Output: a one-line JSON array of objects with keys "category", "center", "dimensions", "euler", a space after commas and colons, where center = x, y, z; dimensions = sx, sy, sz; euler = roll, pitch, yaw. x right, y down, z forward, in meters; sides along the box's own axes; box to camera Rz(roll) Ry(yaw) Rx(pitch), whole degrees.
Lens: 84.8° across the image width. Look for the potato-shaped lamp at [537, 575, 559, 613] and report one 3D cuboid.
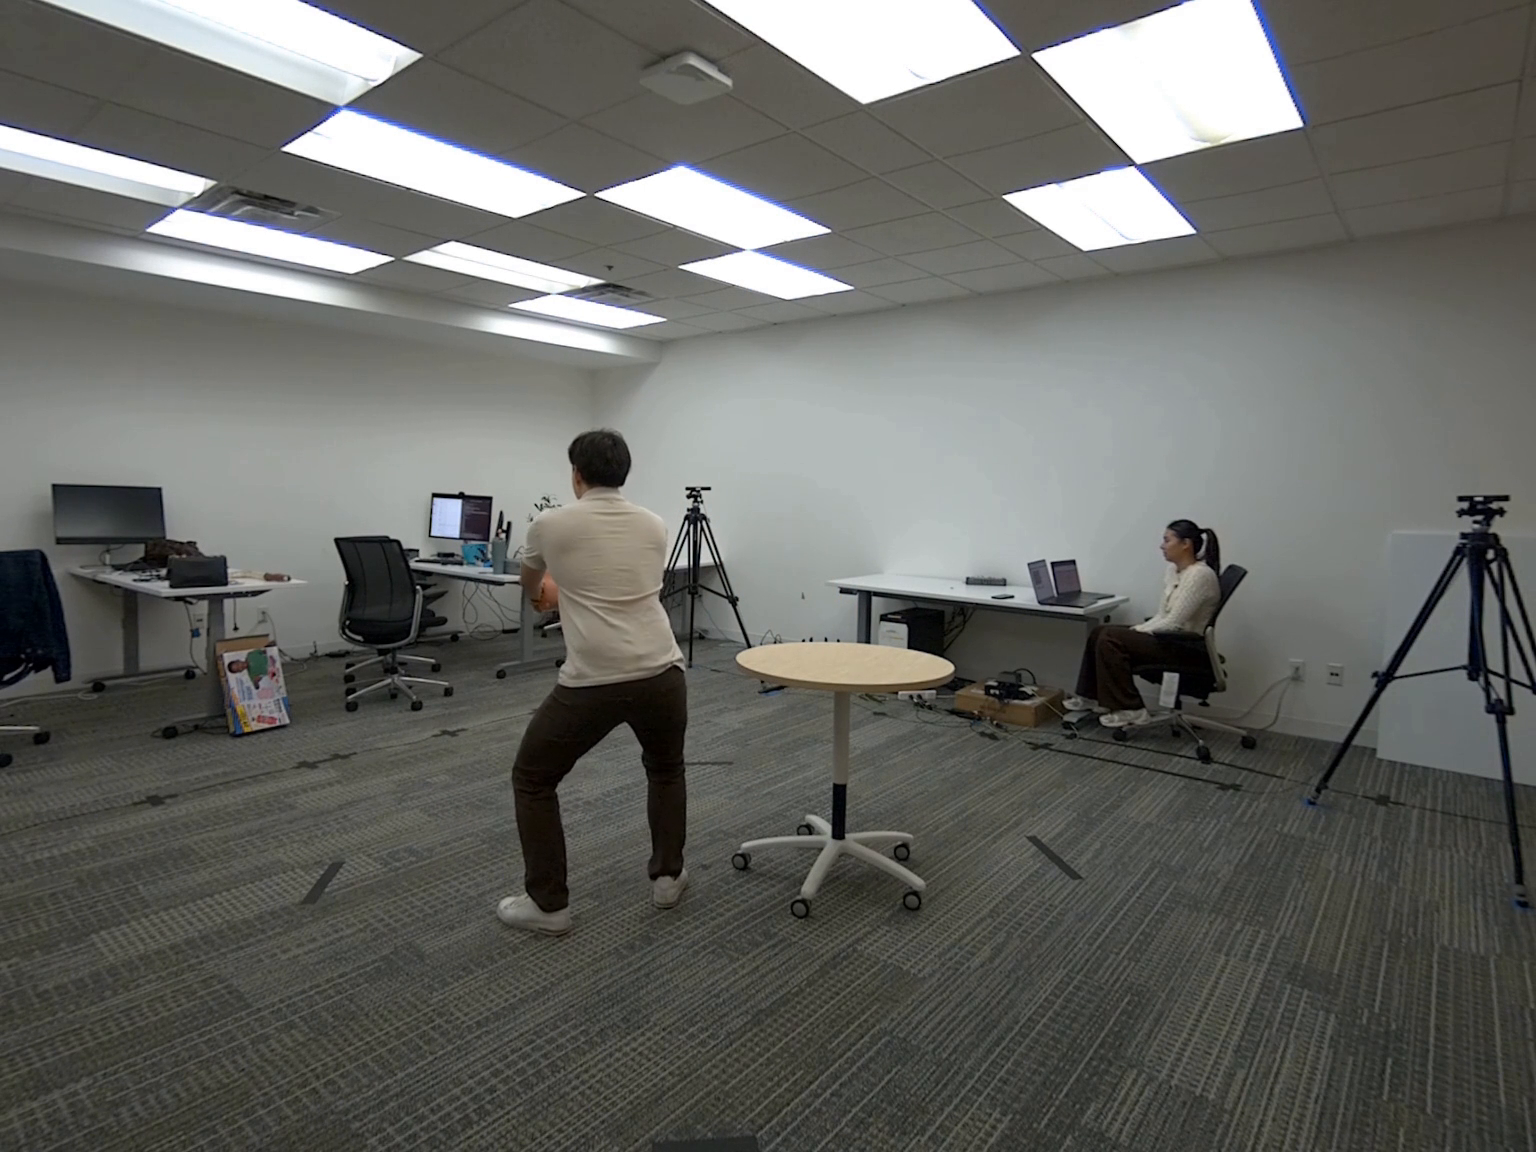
[{"category": "potato-shaped lamp", "center": [-0.816, 0.035, 3.253], "dimensions": [0.161, 0.199, 0.174], "euler": [-2, -7, -22]}]
